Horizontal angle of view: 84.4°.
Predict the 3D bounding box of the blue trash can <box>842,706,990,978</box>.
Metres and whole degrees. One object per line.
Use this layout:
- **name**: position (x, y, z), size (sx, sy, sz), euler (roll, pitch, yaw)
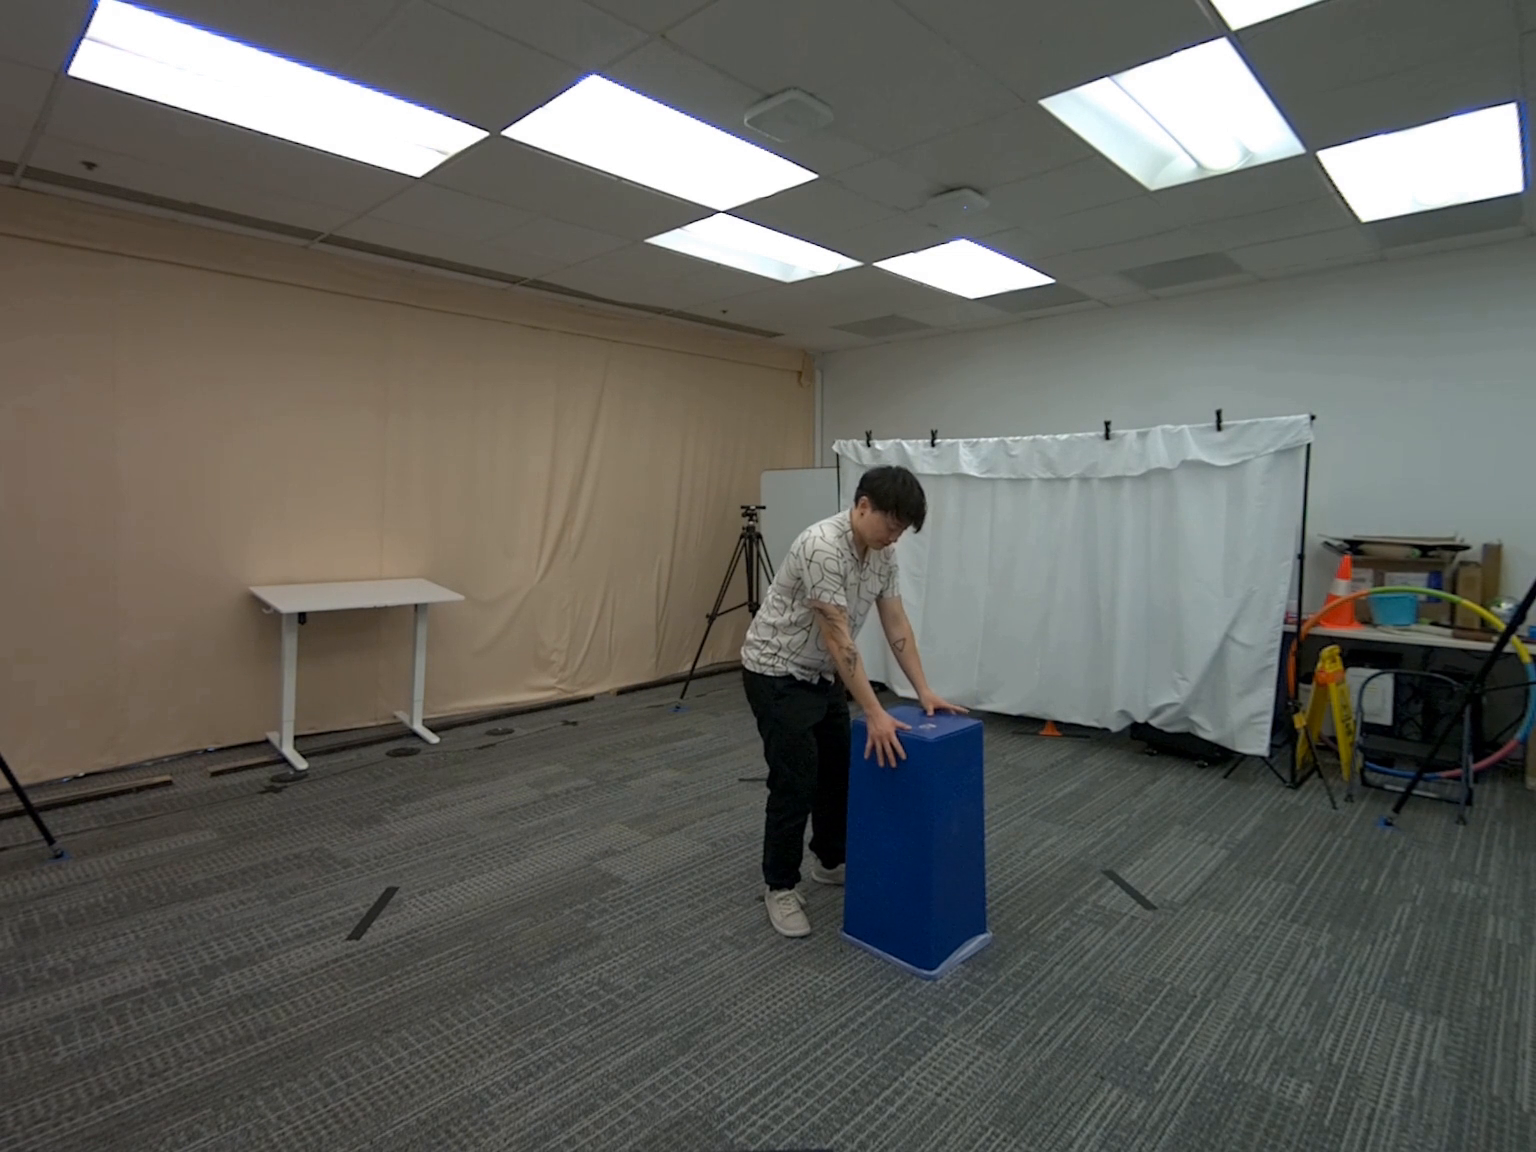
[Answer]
- **blue trash can**: position (0.488, 0.810, 2.690), size (0.391, 0.712, 0.362), euler (5, 5, 45)
